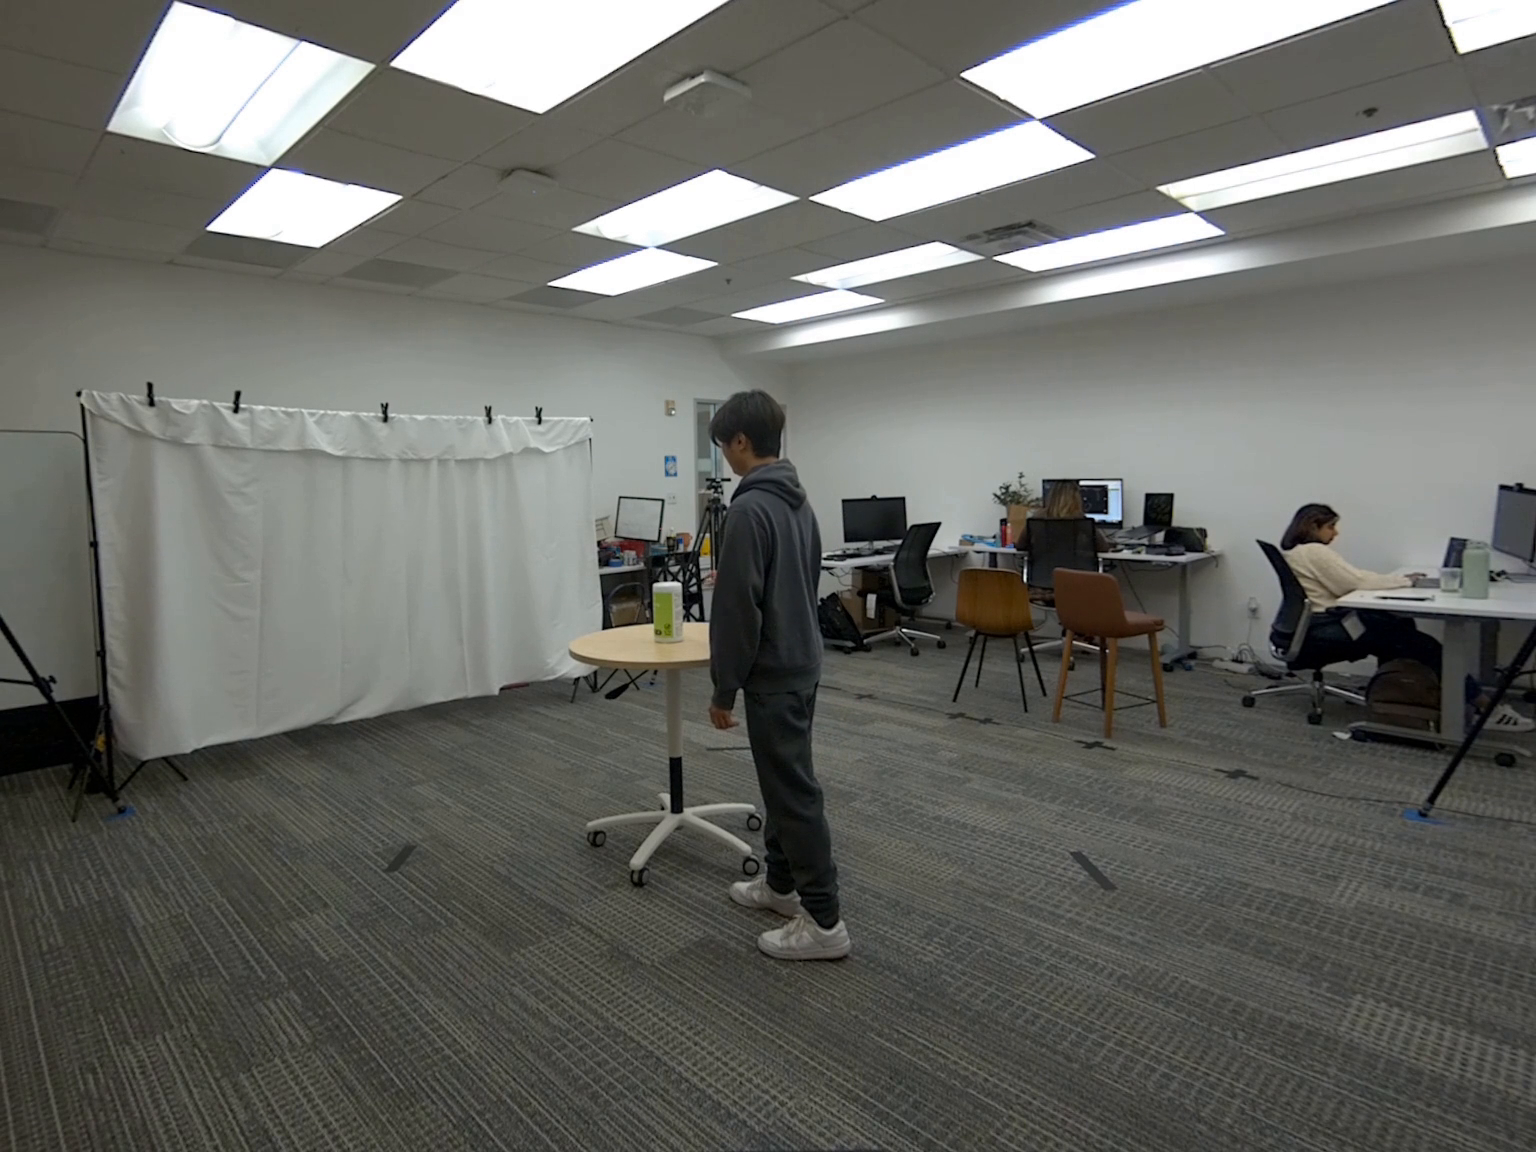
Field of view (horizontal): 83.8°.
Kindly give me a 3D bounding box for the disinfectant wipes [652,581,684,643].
[{"bbox_3d":[-0.368,0.133,3.182,0.118,0.216,0.118,0,5,-2],"label":"disinfectant wipes"}]
